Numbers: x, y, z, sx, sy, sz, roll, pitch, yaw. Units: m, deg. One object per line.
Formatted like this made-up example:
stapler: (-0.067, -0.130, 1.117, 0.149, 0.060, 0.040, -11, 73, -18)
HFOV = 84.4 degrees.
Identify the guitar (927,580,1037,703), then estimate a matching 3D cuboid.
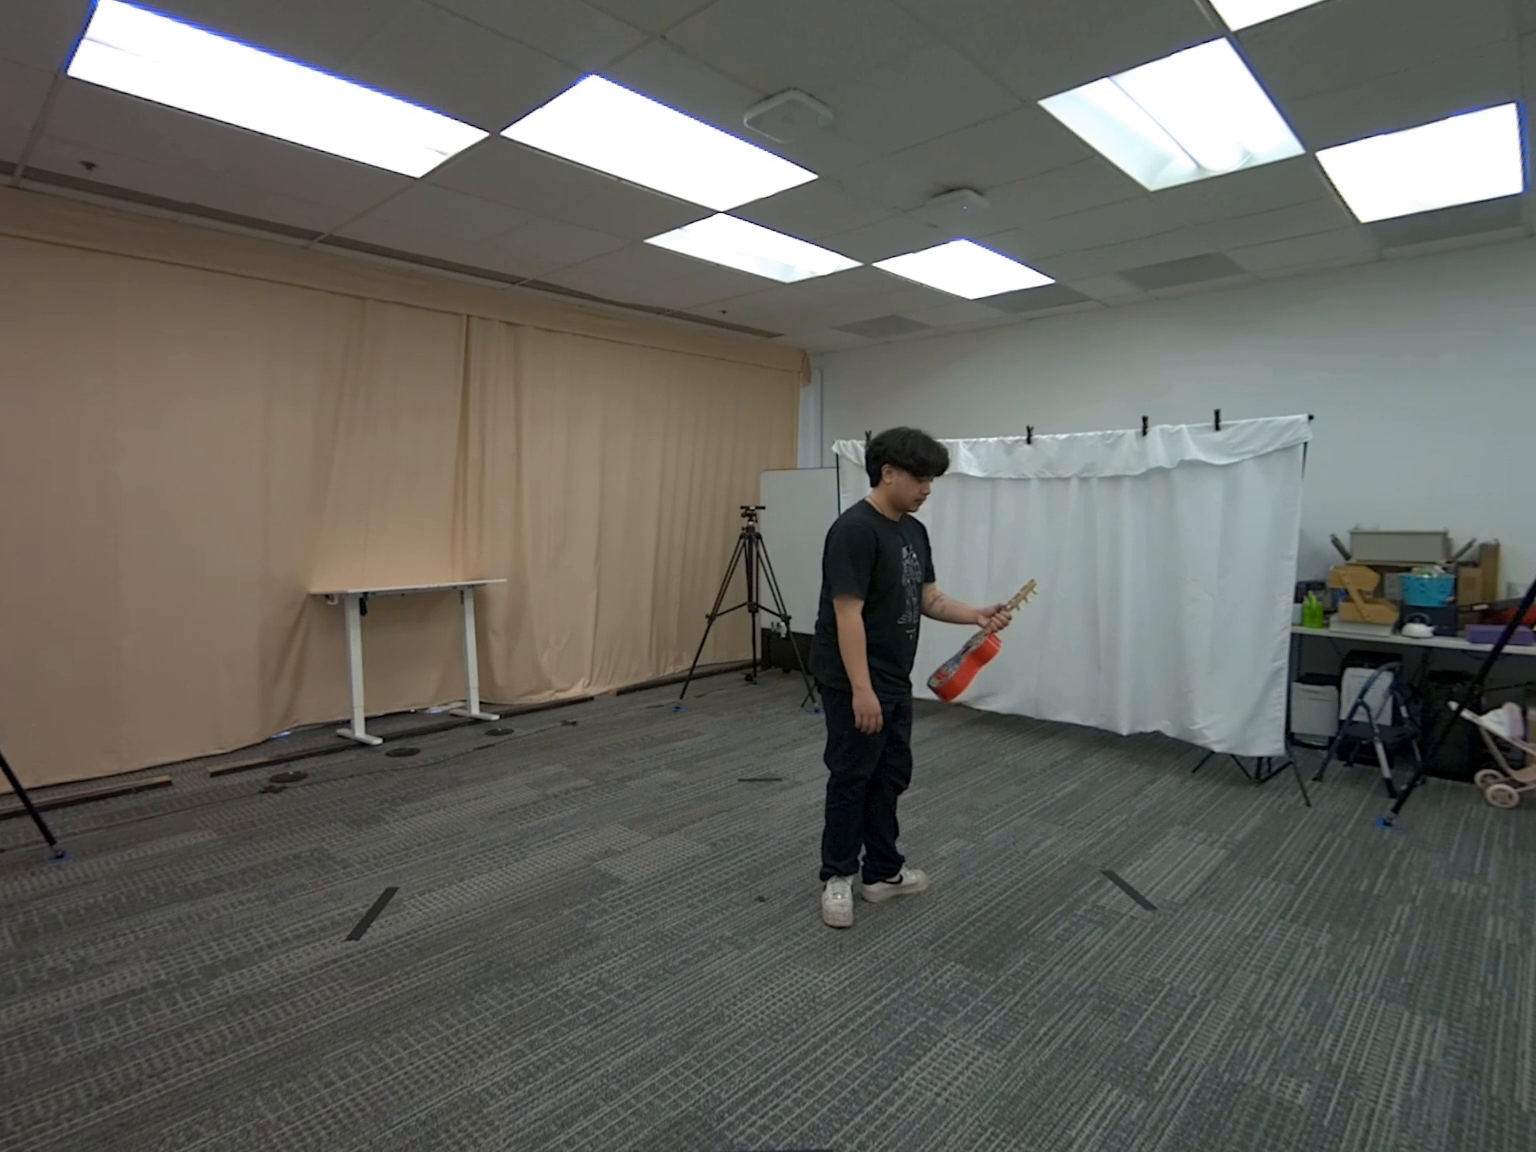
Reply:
guitar: (0.728, 0.219, 2.749, 0.499, 0.070, 0.193, -45, 3, 10)
